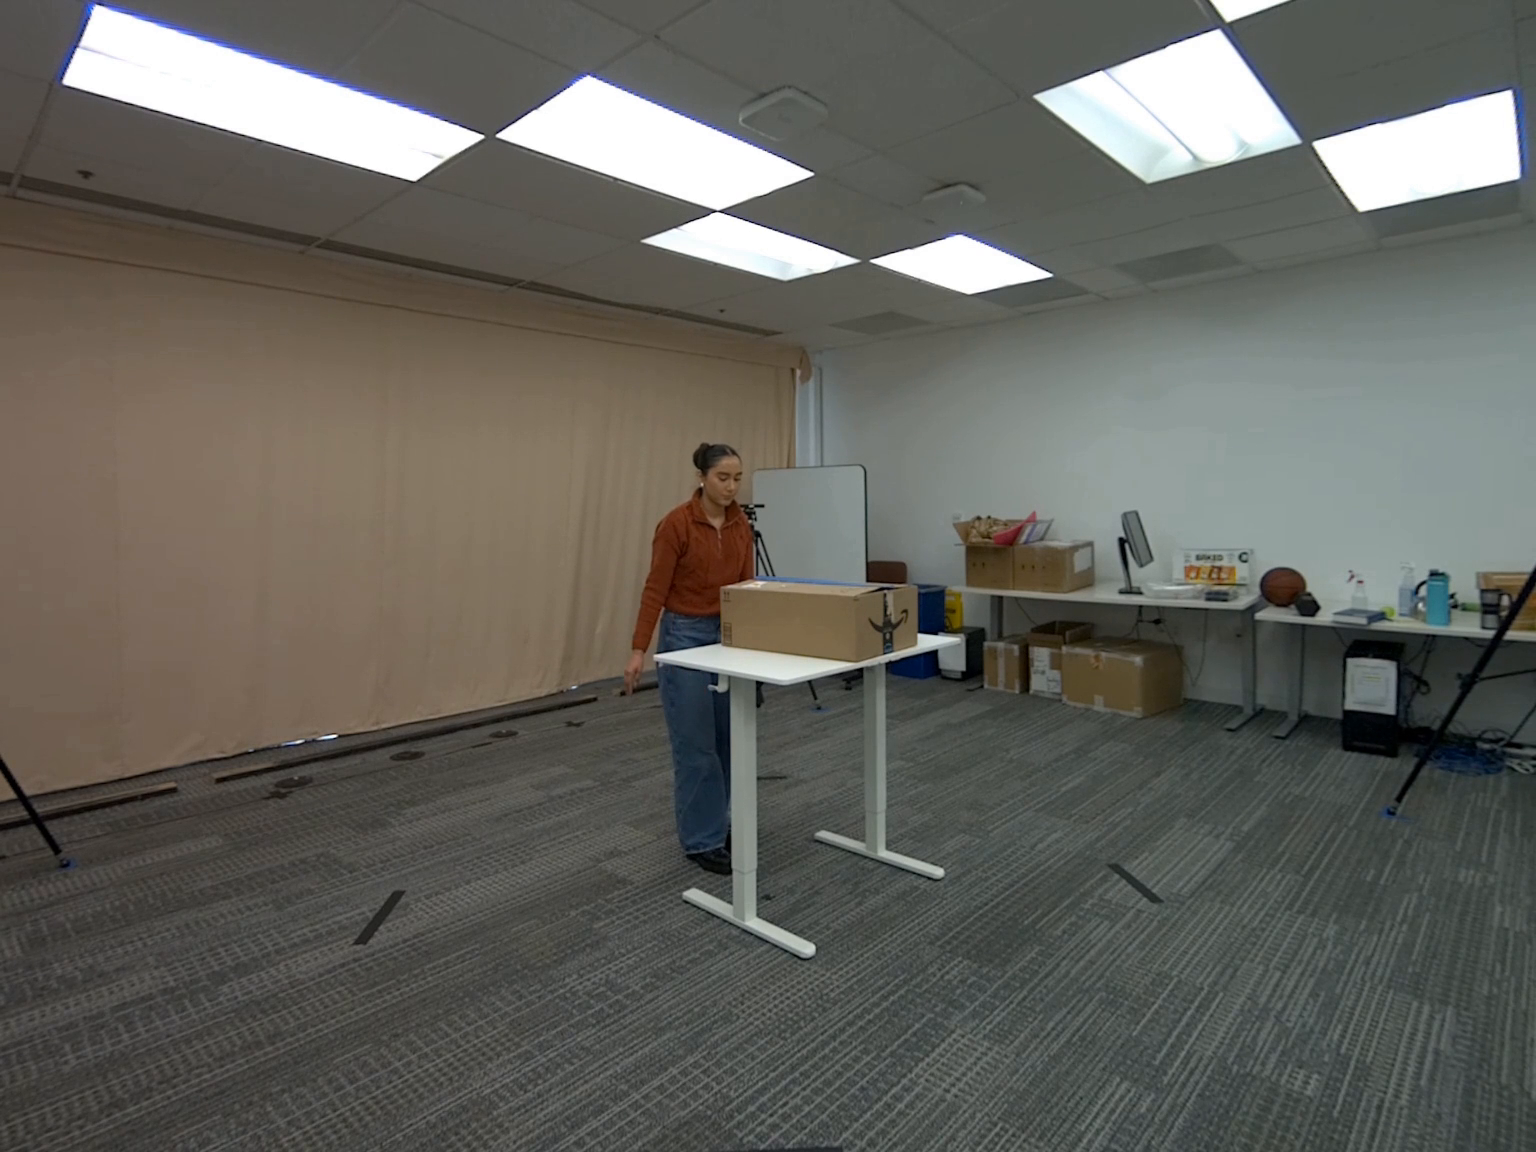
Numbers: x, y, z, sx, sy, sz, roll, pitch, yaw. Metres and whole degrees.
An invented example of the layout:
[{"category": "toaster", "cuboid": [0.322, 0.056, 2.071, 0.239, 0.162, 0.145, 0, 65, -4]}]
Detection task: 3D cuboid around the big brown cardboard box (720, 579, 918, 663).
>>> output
[{"category": "big brown cardboard box", "cuboid": [0.183, 0.141, 3.019, 0.608, 0.232, 0.405, 4, 6, 38]}]
